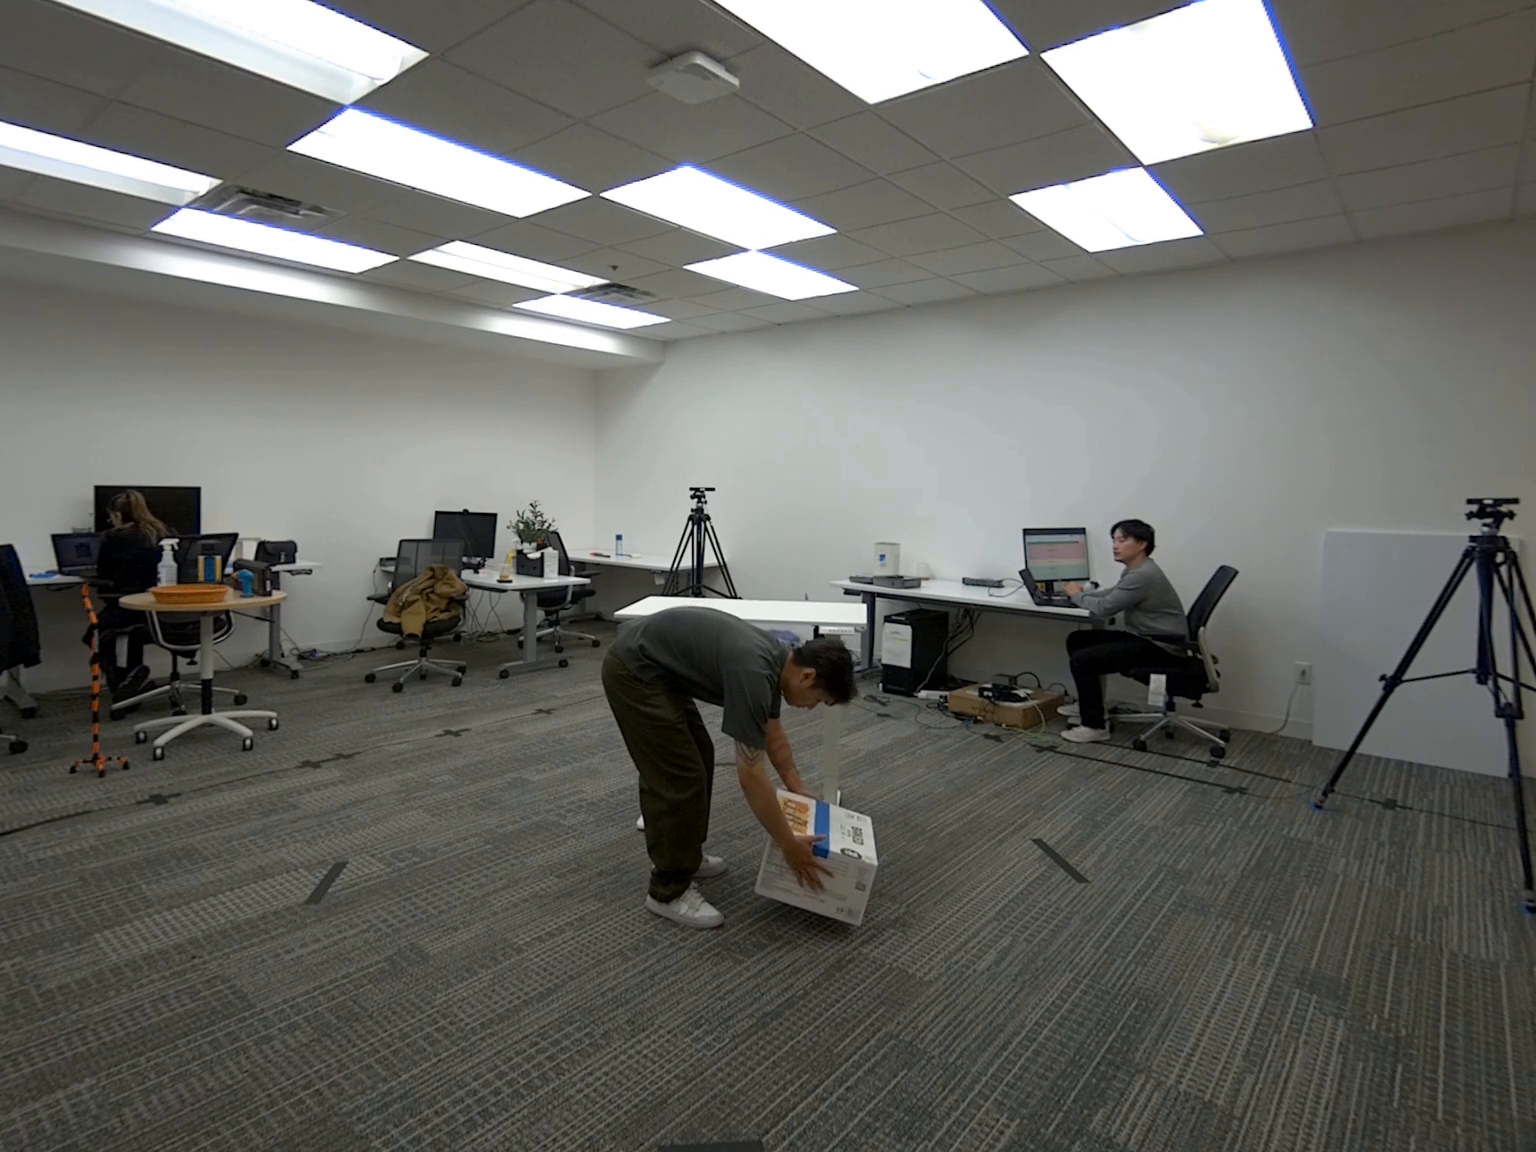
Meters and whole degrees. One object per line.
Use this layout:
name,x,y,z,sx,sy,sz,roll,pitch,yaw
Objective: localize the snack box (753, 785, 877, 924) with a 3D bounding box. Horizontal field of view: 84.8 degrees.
snack box,0.155,0.910,2.805,0.343,0.205,0.404,14,6,4
